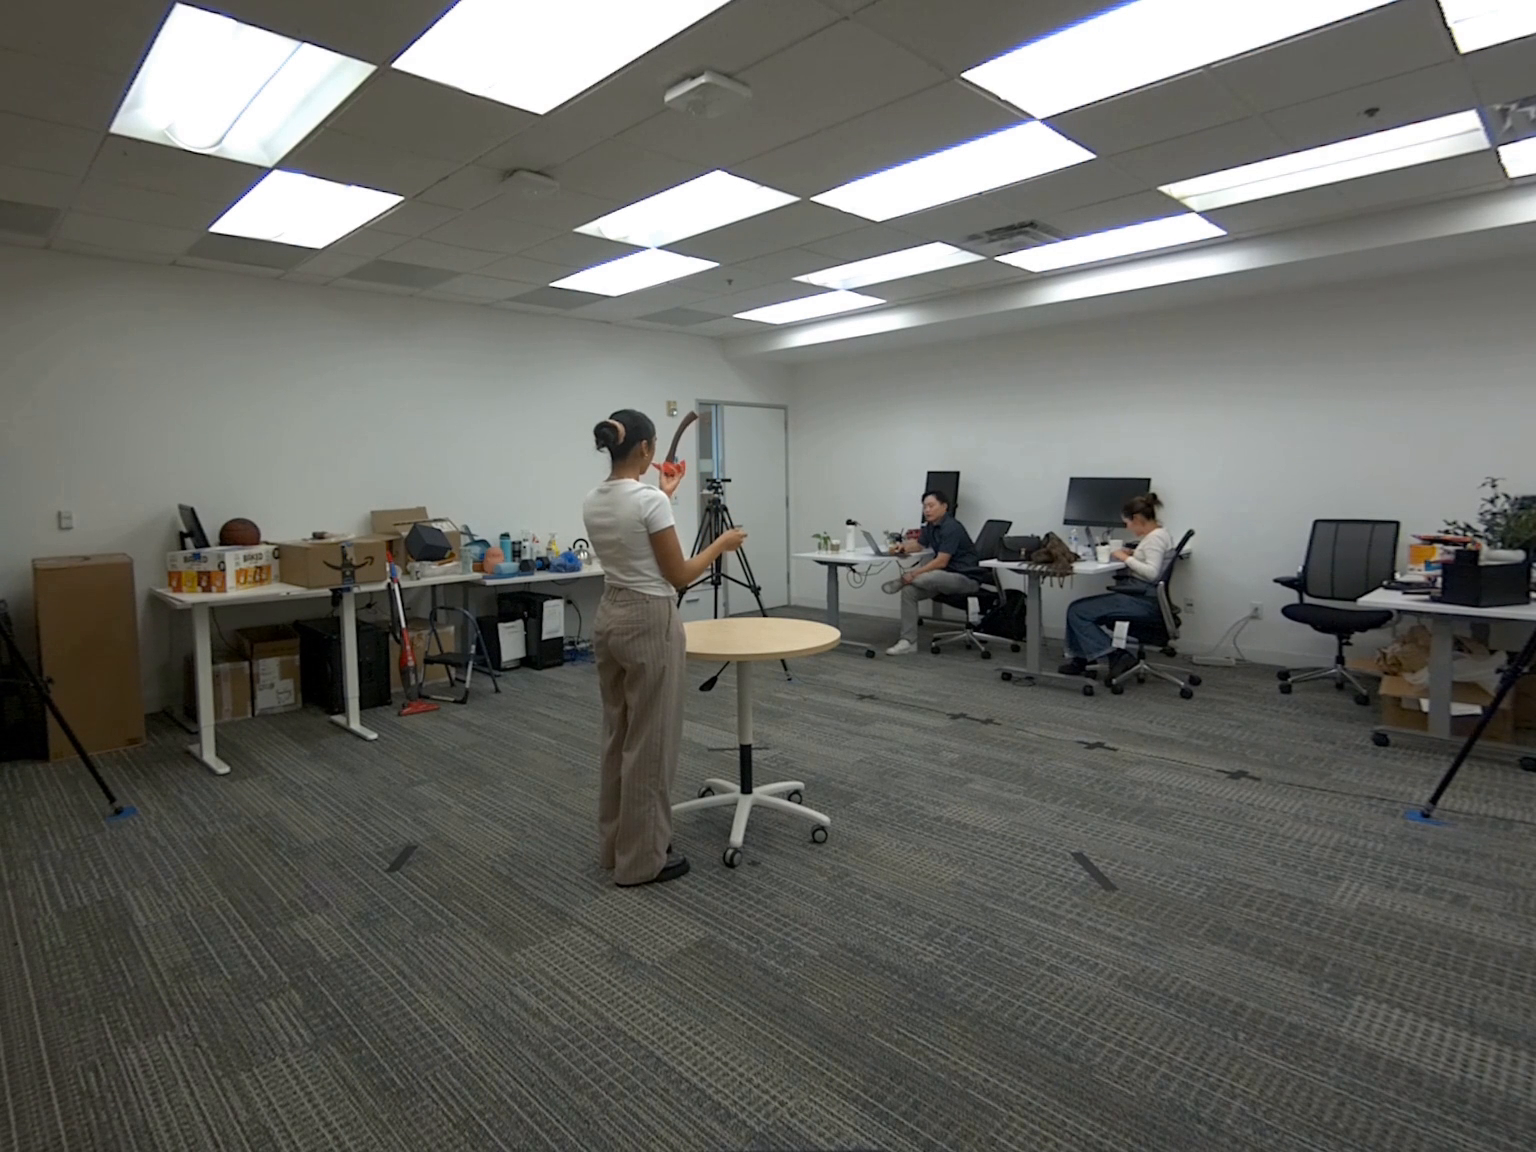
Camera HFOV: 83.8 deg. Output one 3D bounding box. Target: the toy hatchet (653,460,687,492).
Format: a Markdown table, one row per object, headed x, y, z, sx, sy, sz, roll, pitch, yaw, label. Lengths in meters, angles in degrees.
| x | y | z | sx | sy | sz | roll | pitch | yaw | label |
| --- | --- | --- | --- | --- | --- | --- | --- | --- | --- |
| -0.329 | -0.499 | 3.321 | 0.131 | 0.270 | 0.029 | 34 | -3 | 1 | toy hatchet |
